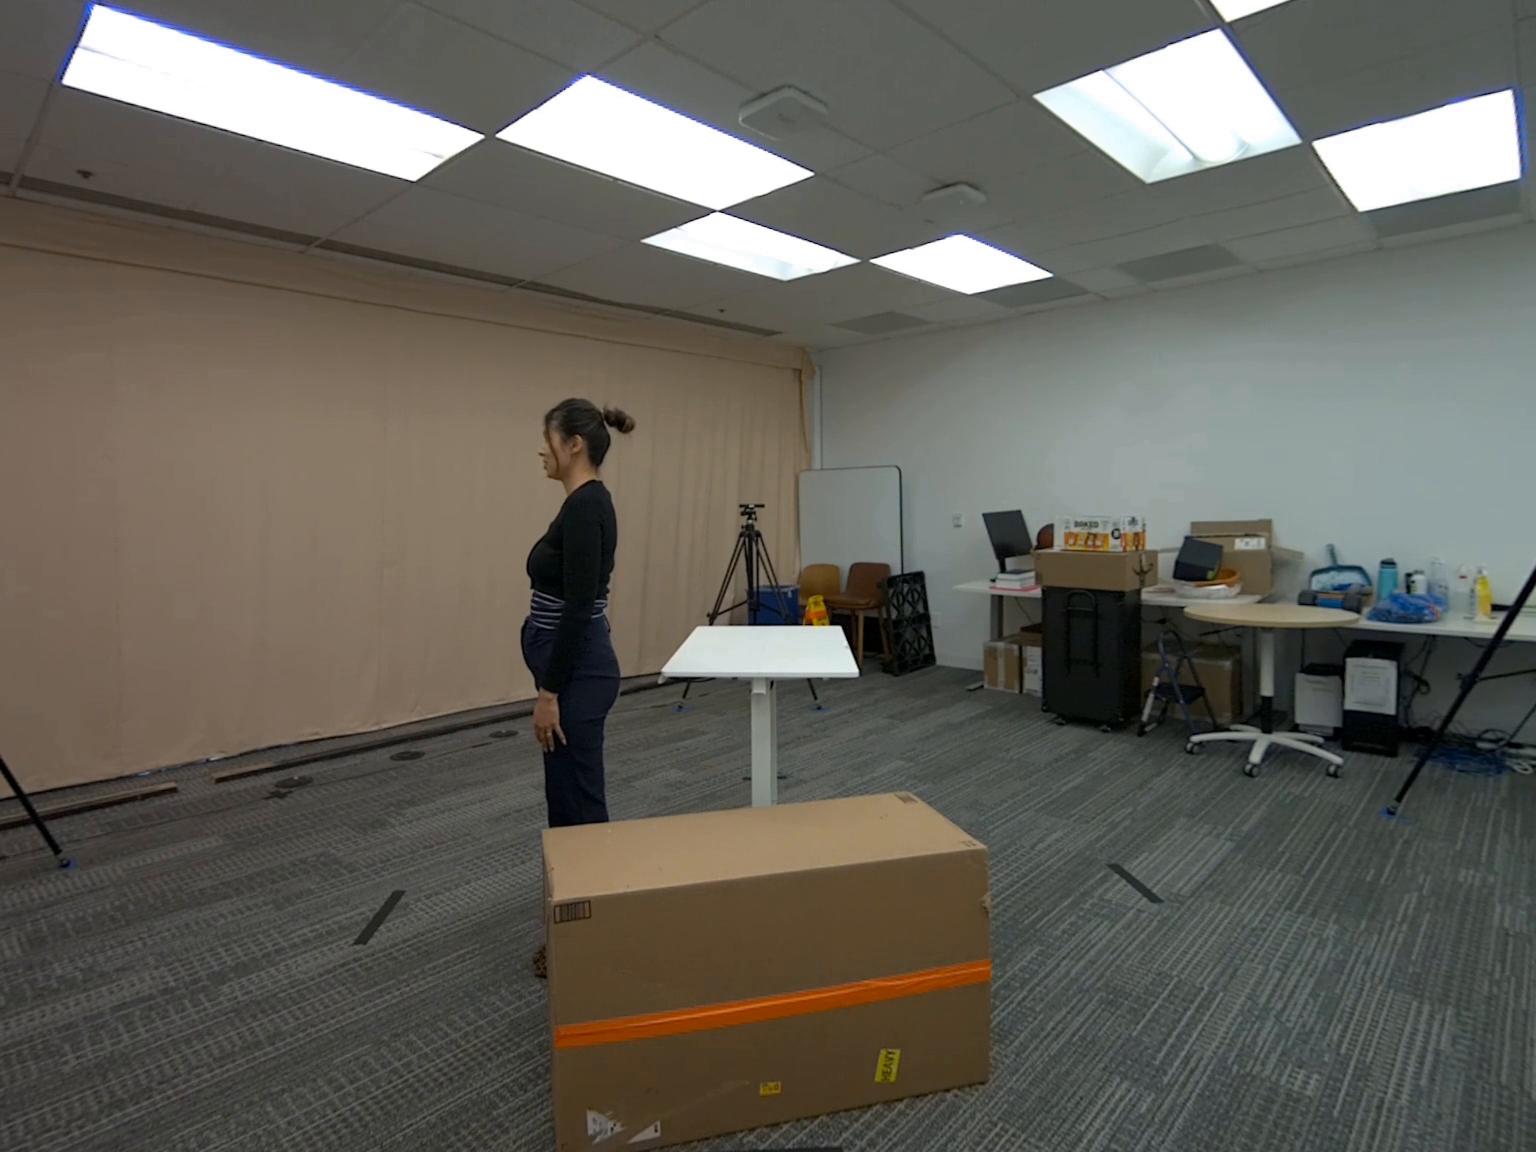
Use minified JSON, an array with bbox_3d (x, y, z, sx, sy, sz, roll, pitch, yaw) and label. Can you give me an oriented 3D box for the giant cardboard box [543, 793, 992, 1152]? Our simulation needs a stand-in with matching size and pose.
[{"bbox_3d":[-0.011,0.928,2.072,1.010,0.576,0.434,-2,5,-15],"label":"giant cardboard box"}]
